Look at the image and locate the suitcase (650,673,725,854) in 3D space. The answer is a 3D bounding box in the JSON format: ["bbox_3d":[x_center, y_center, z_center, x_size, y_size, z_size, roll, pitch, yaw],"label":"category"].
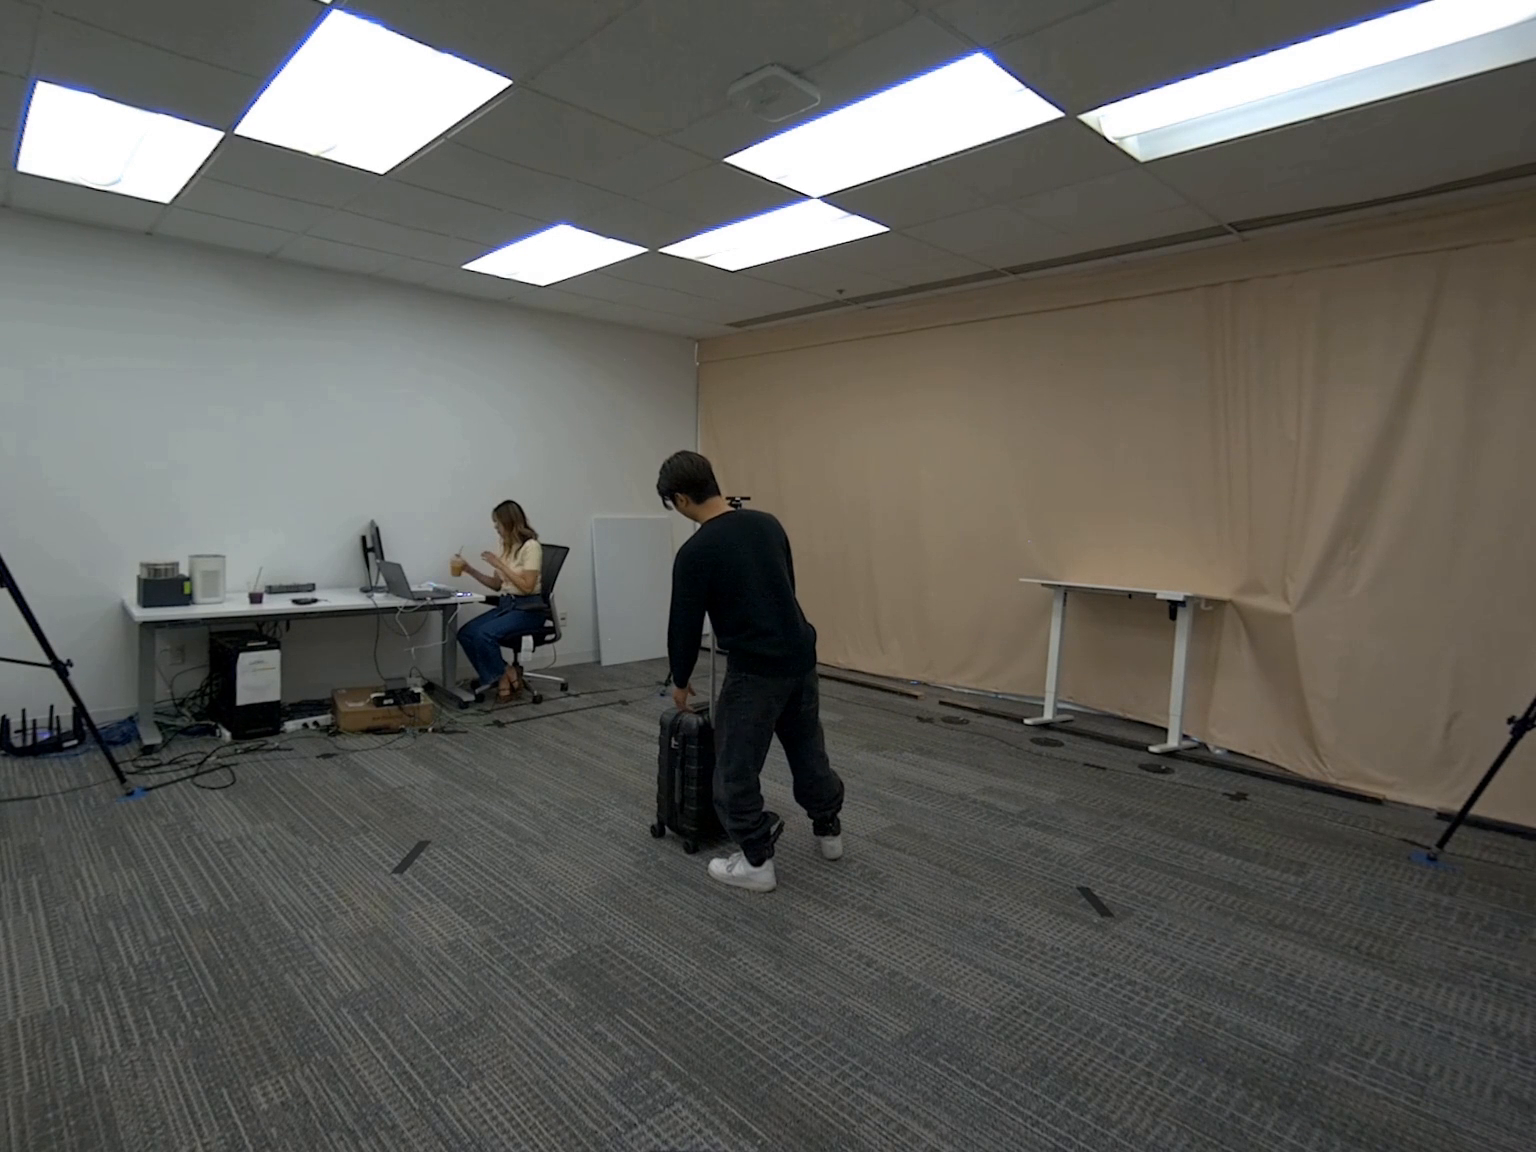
[{"bbox_3d":[-0.266,0.593,3.451,0.263,0.978,0.375,1,1,44],"label":"suitcase"}]
